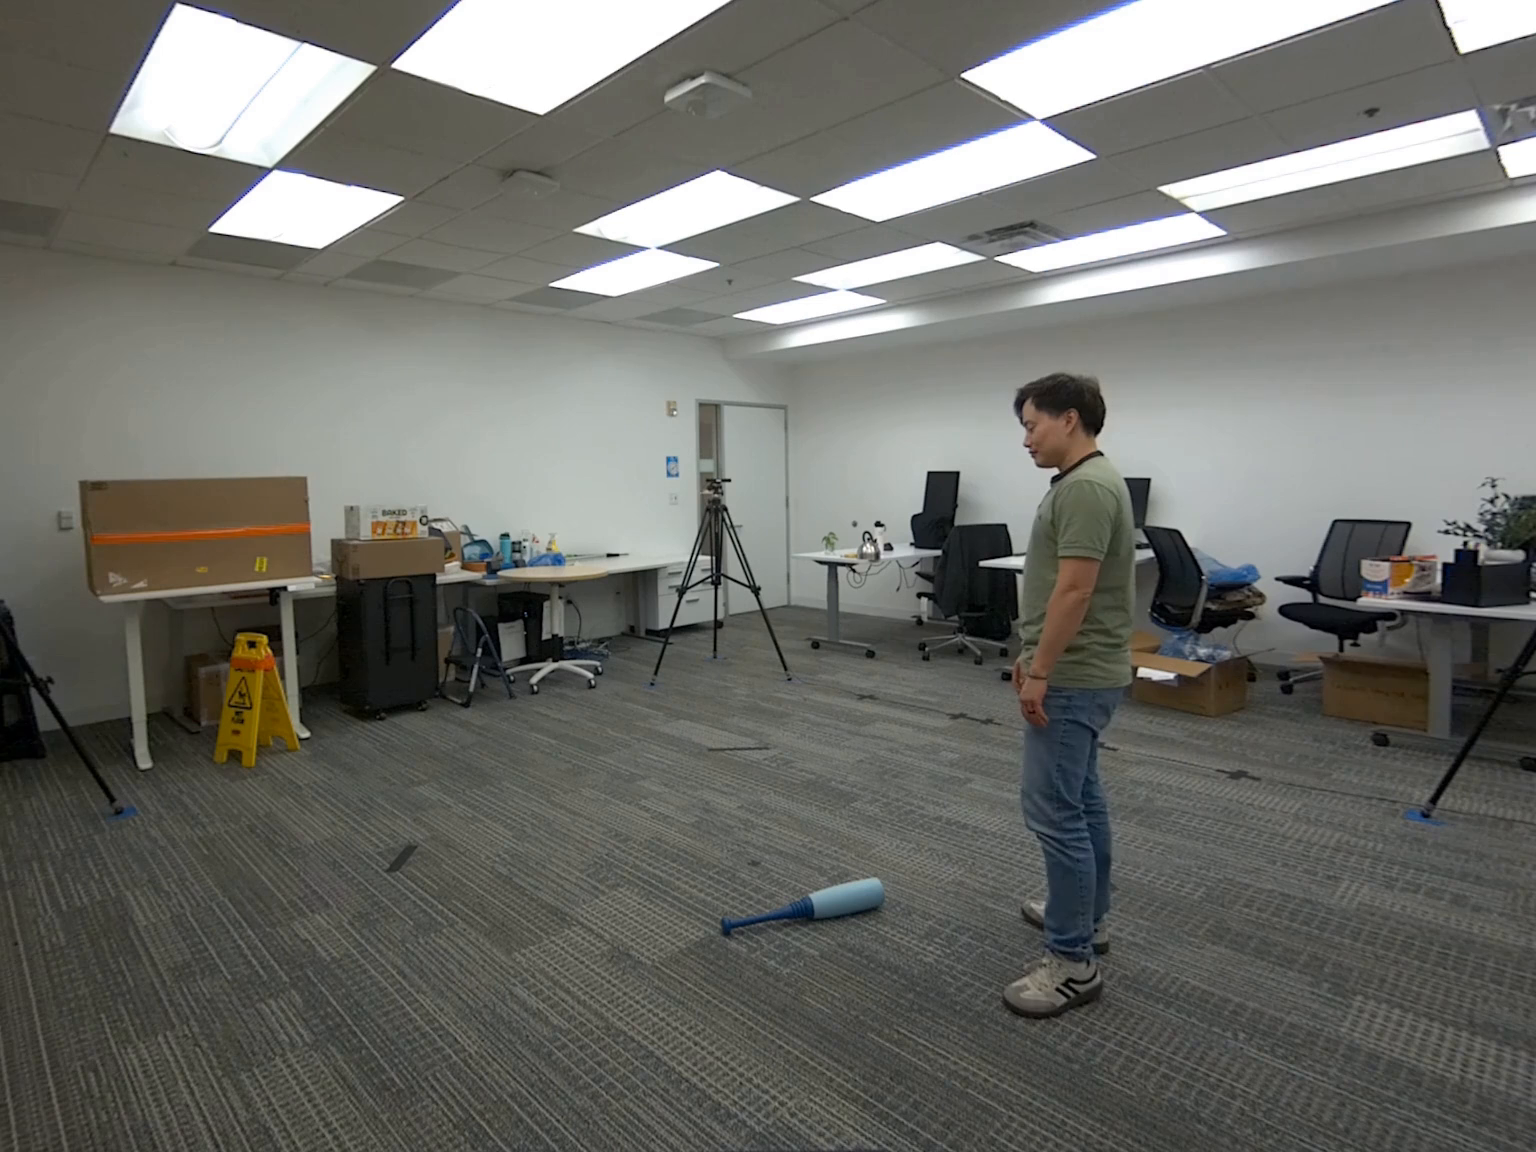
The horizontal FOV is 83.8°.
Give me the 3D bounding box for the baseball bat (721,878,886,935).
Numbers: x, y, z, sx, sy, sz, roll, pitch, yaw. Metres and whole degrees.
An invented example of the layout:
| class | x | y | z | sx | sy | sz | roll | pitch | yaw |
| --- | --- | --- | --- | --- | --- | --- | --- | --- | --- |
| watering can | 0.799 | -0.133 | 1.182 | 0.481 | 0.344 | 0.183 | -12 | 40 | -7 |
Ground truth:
| class | x | y | z | sx | sy | sz | roll | pitch | yaw |
| --- | --- | --- | --- | --- | --- | --- | --- | --- | --- |
| baseball bat | 0.119 | 1.052 | 2.698 | 0.535 | 0.088 | 0.091 | -6 | 6 | -16 |
